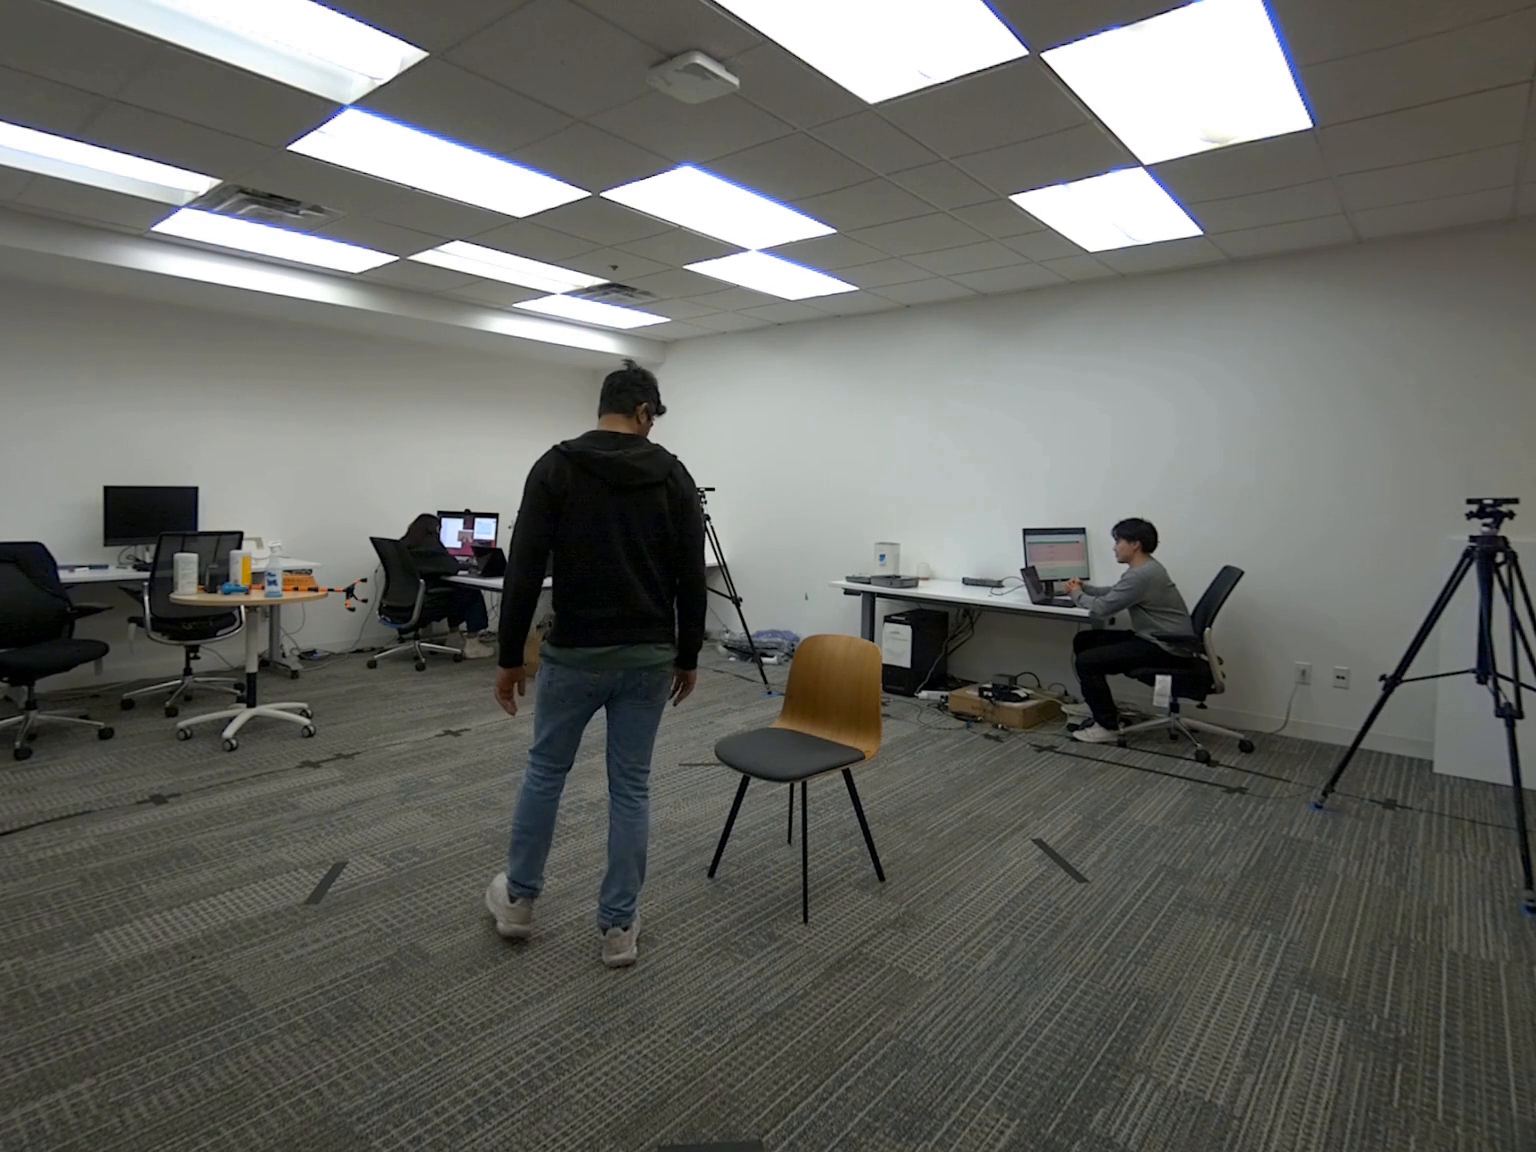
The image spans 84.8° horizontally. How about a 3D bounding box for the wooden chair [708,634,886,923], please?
[{"bbox_3d":[0.098,0.657,3.011,0.494,0.877,0.505,5,1,43],"label":"wooden chair"}]
